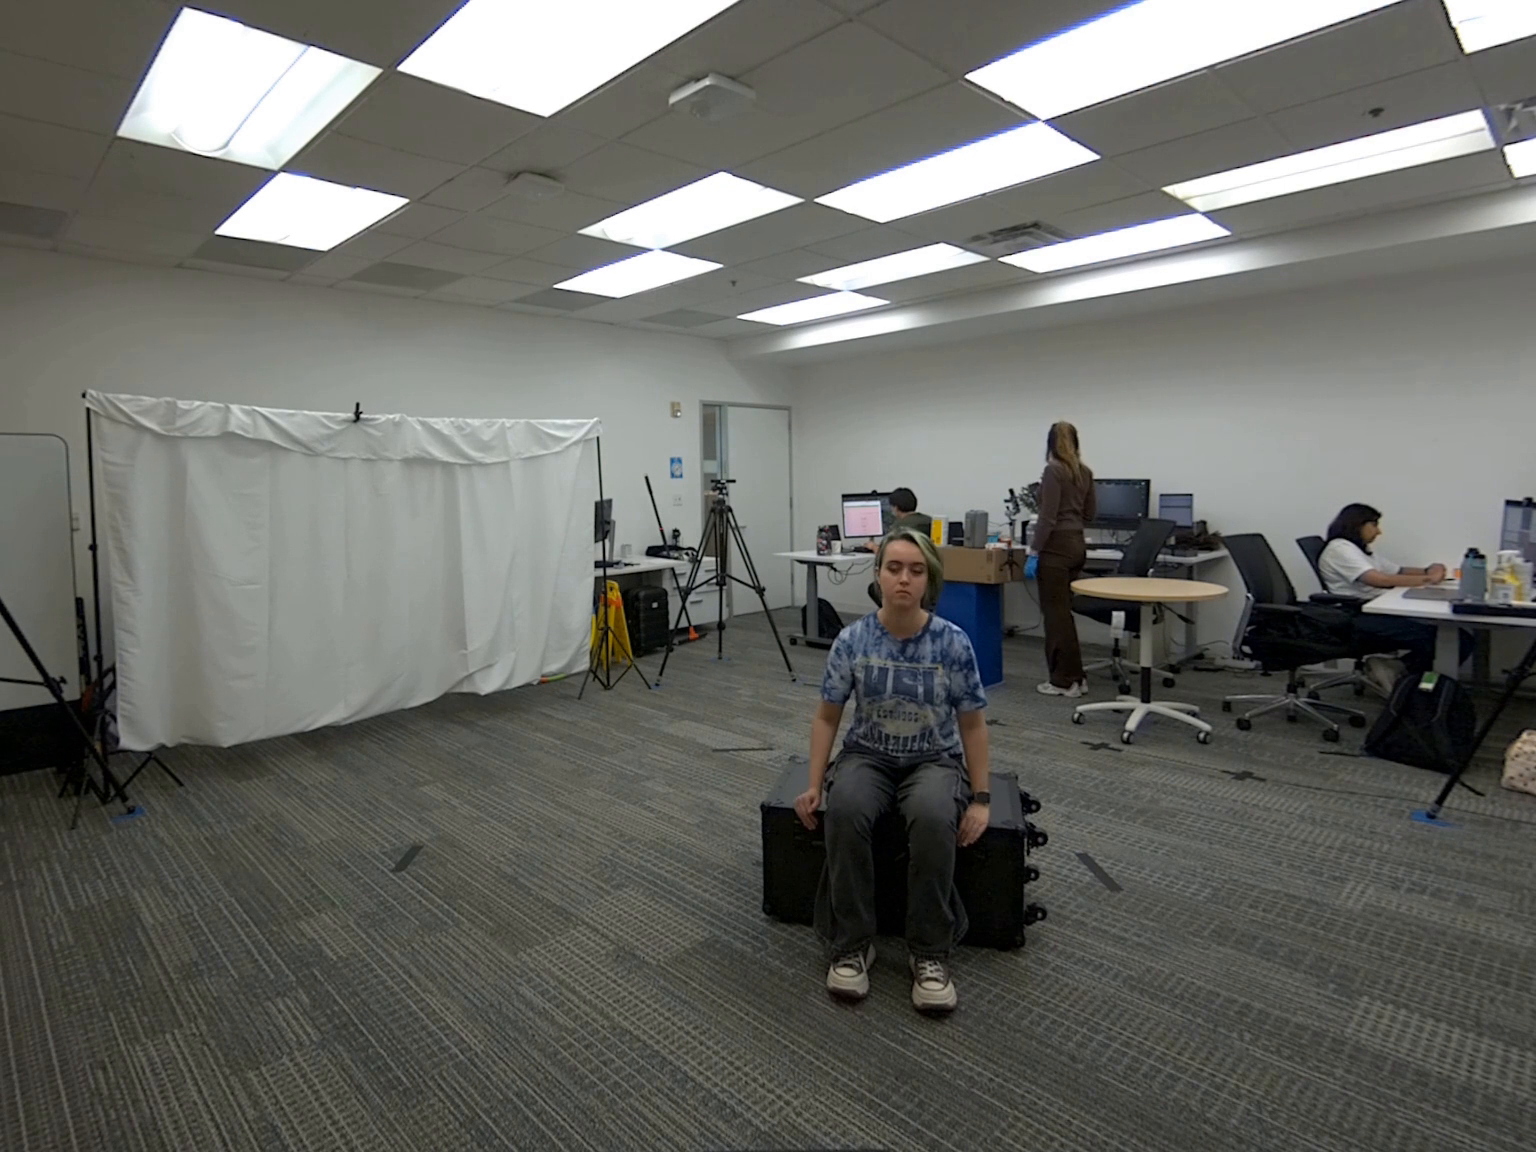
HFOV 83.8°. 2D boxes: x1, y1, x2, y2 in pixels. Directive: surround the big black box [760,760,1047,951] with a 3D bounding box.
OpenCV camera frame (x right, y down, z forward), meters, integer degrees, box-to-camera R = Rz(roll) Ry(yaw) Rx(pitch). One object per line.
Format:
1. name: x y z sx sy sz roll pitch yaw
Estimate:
1. big black box: 0.448 0.881 2.801 0.874 0.395 0.516 0 5 14
